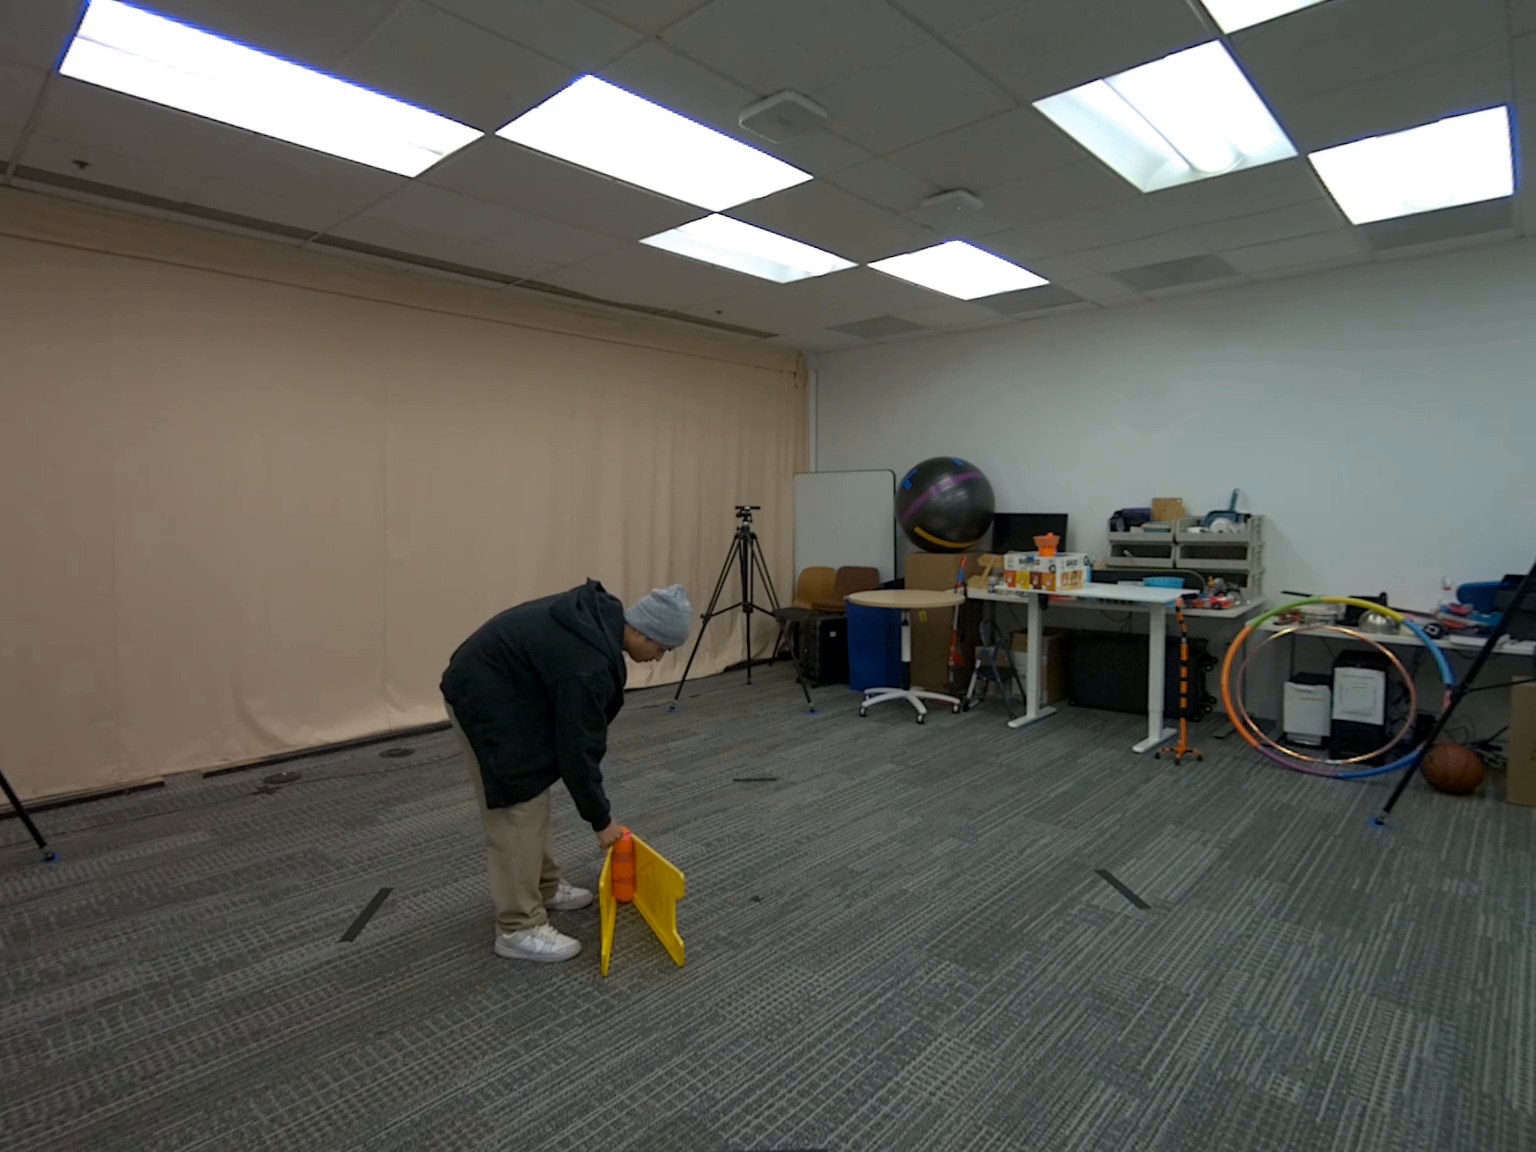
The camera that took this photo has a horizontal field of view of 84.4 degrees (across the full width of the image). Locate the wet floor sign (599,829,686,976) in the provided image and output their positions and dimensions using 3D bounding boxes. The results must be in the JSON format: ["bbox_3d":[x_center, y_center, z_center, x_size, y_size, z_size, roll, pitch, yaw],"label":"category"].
[{"bbox_3d":[-0.472,1.034,2.823,0.285,0.282,0.656,-1,1,-16],"label":"wet floor sign"}]
